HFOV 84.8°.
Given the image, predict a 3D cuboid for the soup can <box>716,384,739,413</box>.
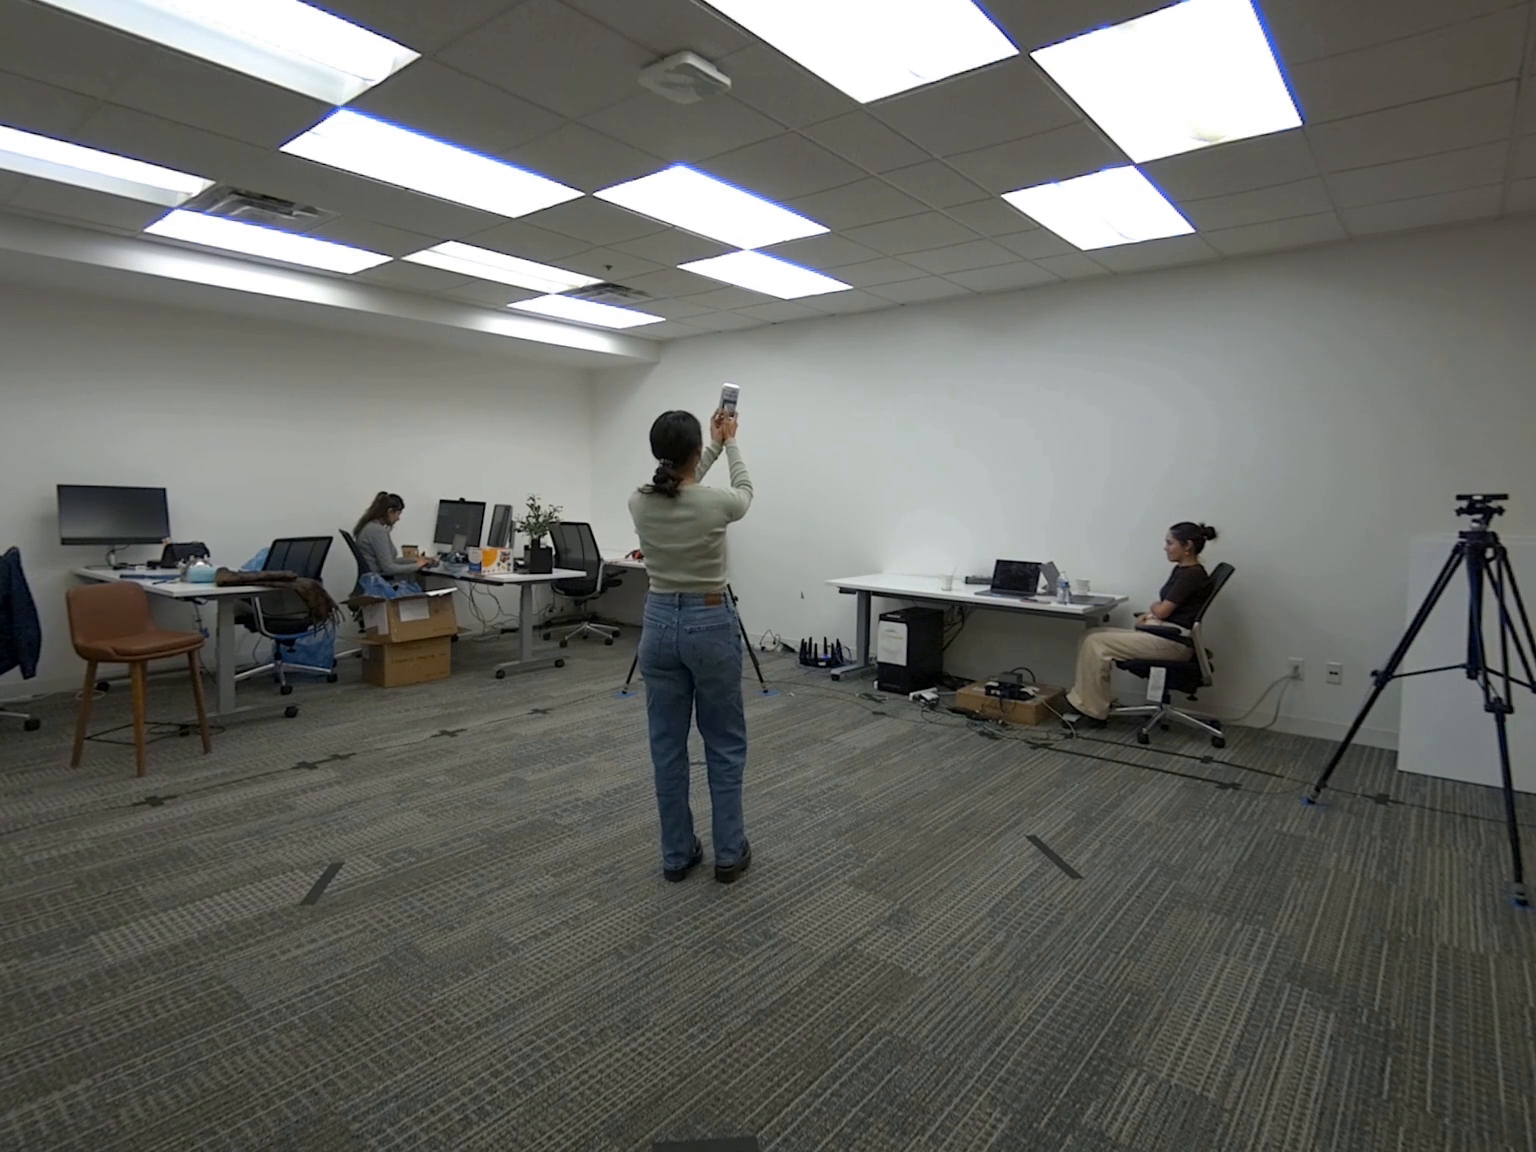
[{"bbox_3d":[-0.163,-0.683,3.289,0.067,0.120,0.068,11,13,-5],"label":"soup can"}]
